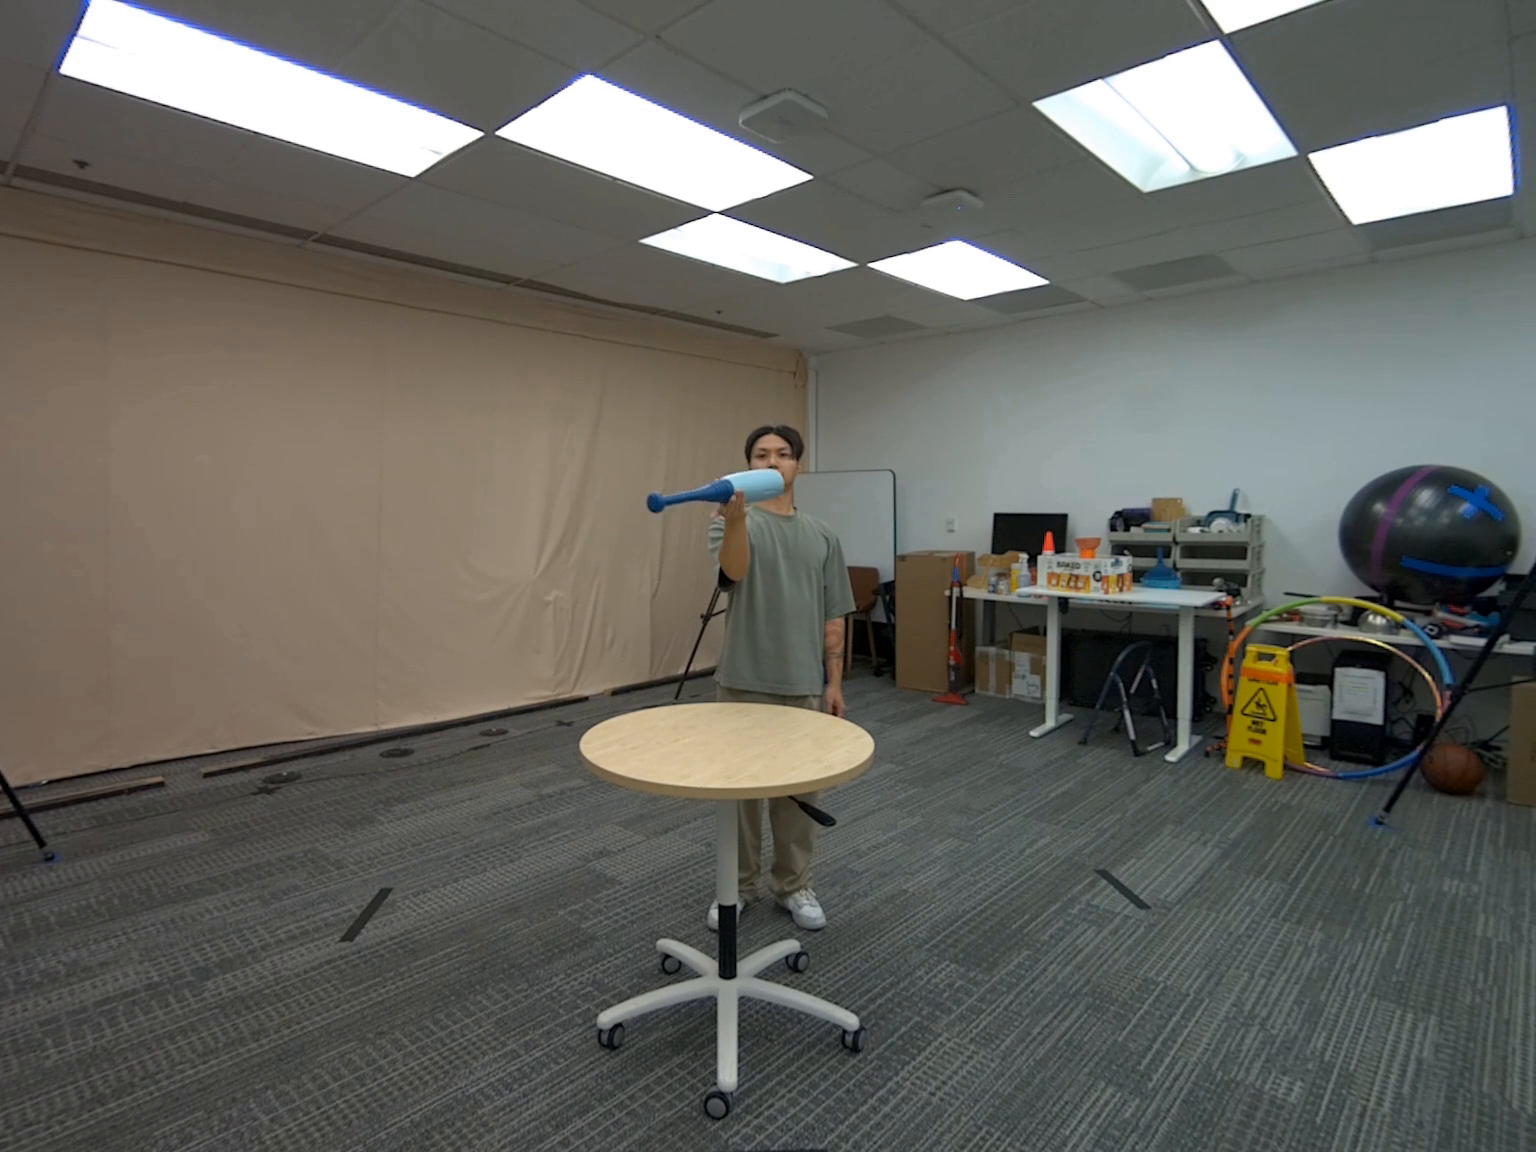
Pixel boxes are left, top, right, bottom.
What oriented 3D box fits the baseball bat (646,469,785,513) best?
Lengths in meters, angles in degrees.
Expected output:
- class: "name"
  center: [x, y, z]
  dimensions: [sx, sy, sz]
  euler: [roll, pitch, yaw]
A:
- class: "baseball bat"
  center: [-0.120, -0.219, 2.207]
  dimensions: [0.092, 0.088, 0.530]
  euler: [3, 13, 35]
